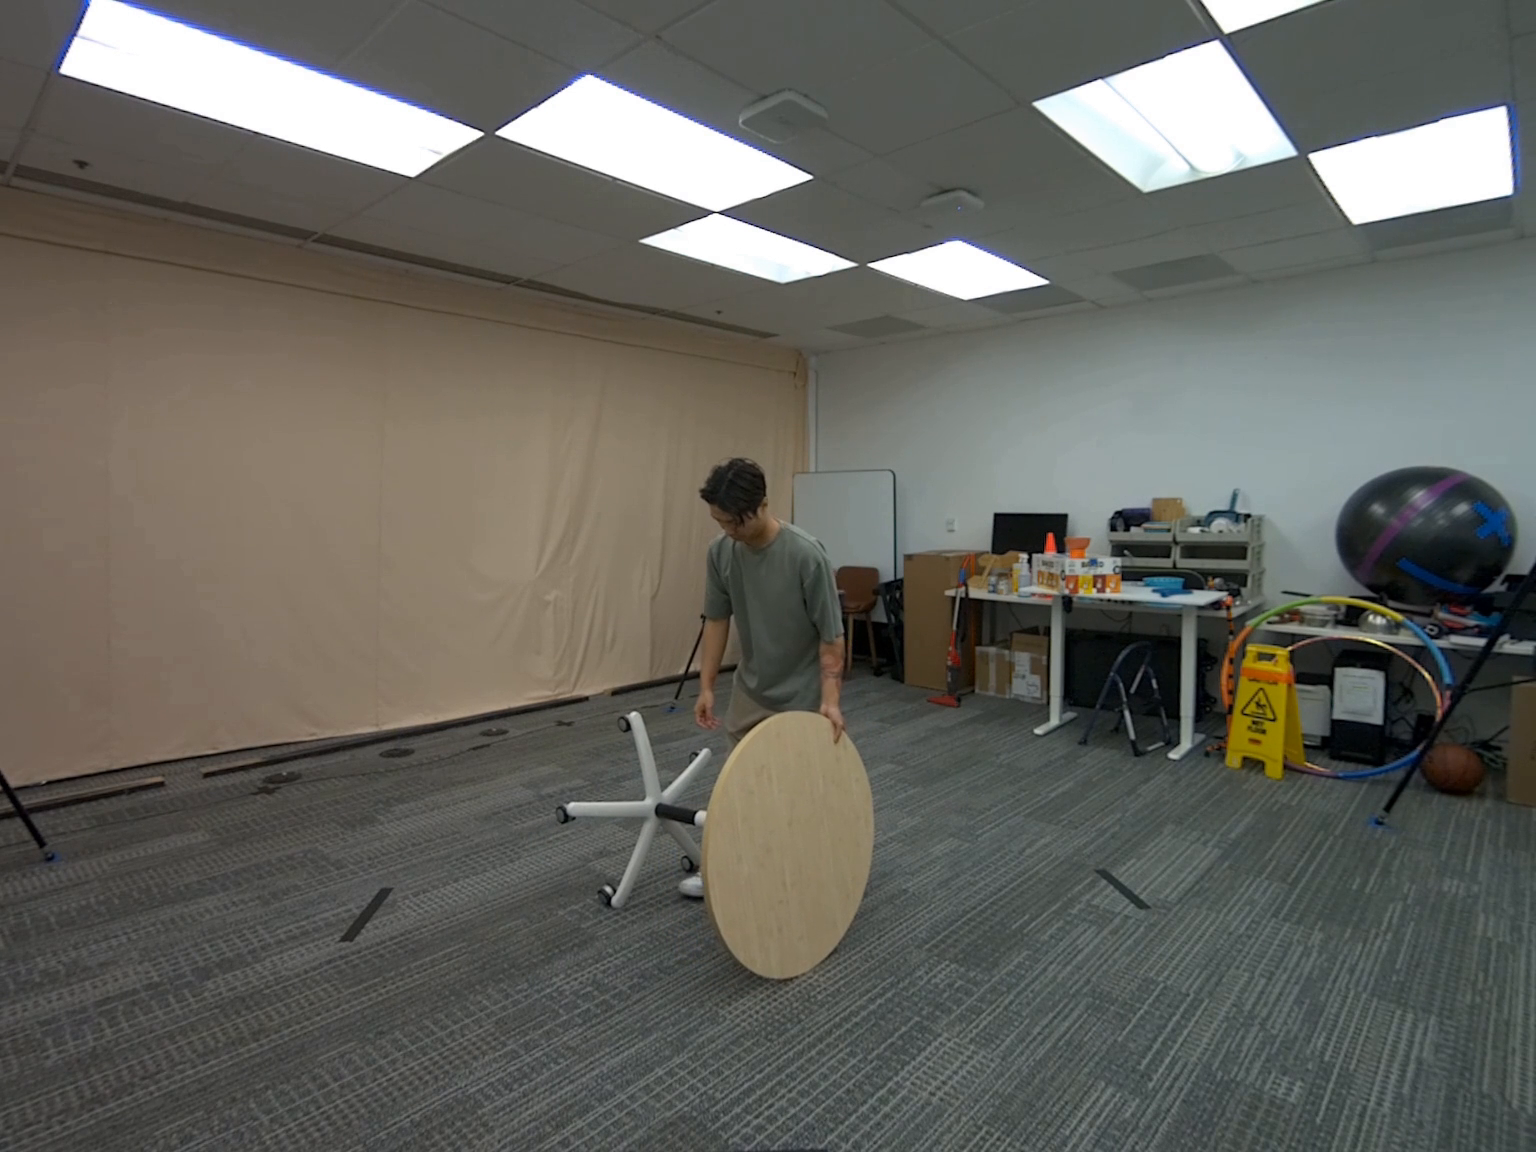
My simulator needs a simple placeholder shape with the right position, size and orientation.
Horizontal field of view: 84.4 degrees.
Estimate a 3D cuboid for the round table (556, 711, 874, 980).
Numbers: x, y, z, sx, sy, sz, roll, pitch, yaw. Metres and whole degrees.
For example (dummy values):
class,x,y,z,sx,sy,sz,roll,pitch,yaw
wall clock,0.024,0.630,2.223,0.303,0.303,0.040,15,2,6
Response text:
class,x,y,z,sx,sy,sz,roll,pitch,yaw
round table,-0.202,0.824,2.816,0.810,0.786,0.761,-6,-2,44
